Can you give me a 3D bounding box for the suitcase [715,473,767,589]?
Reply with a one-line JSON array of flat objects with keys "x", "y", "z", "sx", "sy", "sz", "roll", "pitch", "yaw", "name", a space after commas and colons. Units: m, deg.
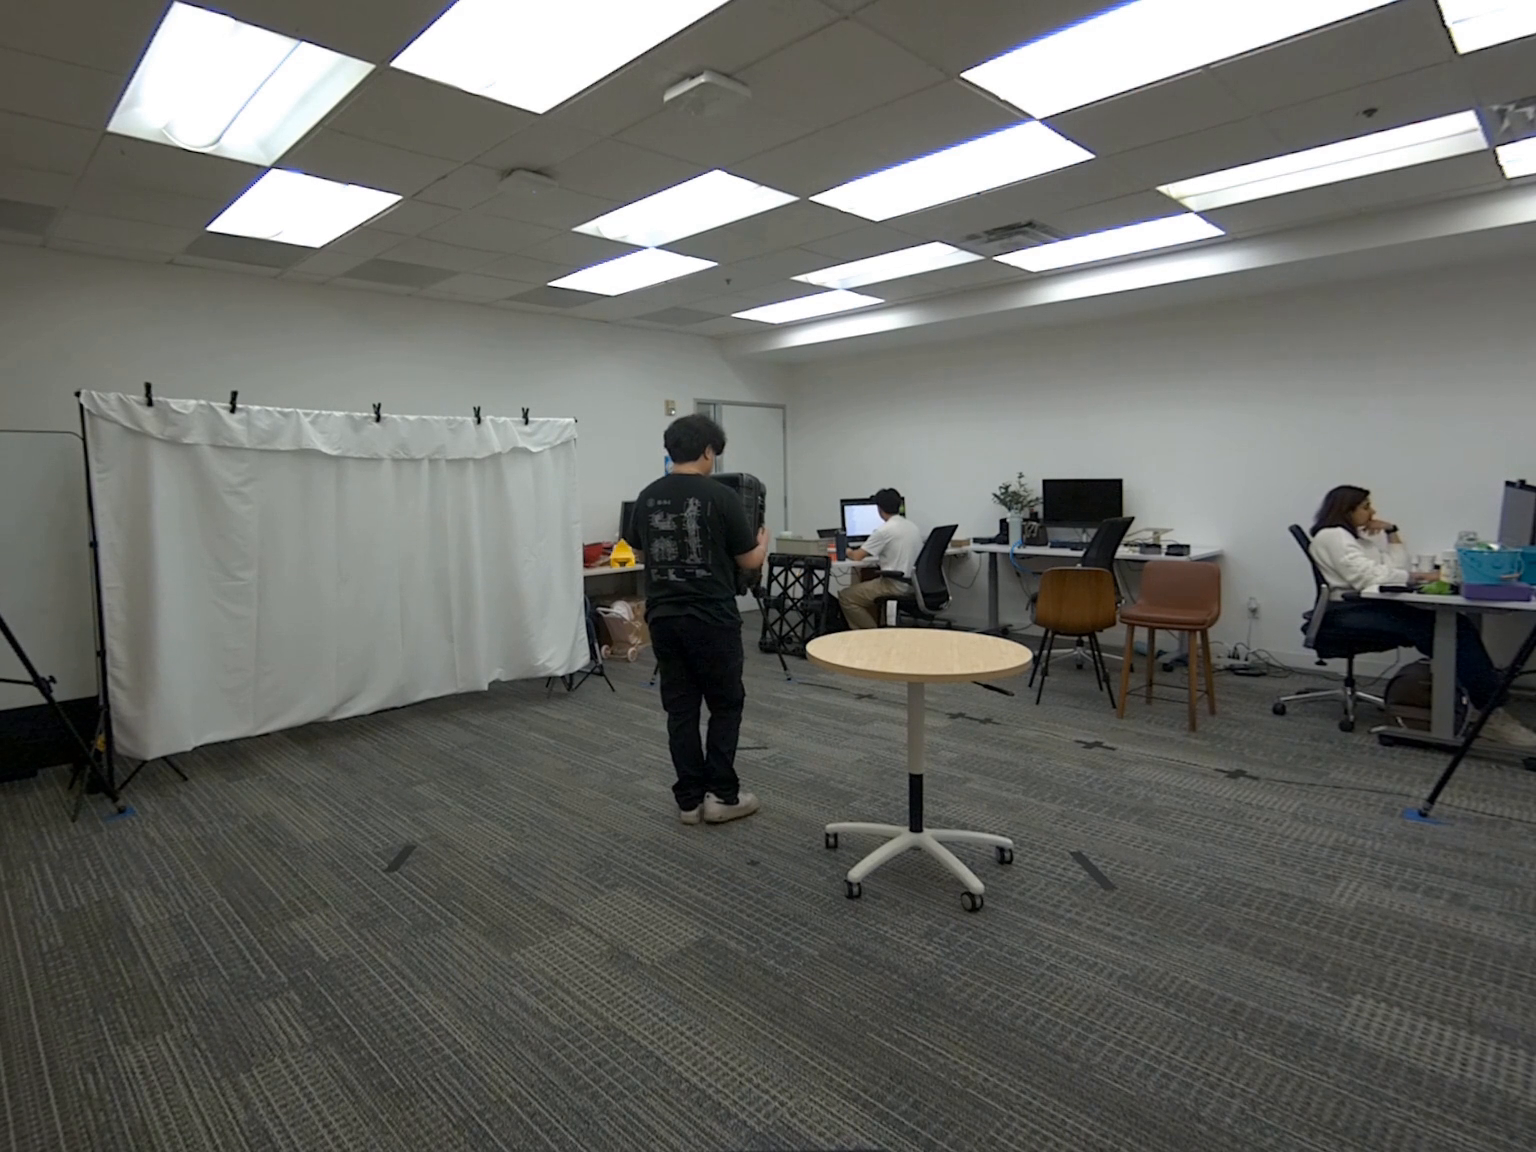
[{"x": -0.203, "y": -0.186, "z": 3.817, "sx": 0.385, "sy": 0.551, "sz": 0.241, "roll": 1, "pitch": -4, "yaw": 28, "name": "suitcase"}]
